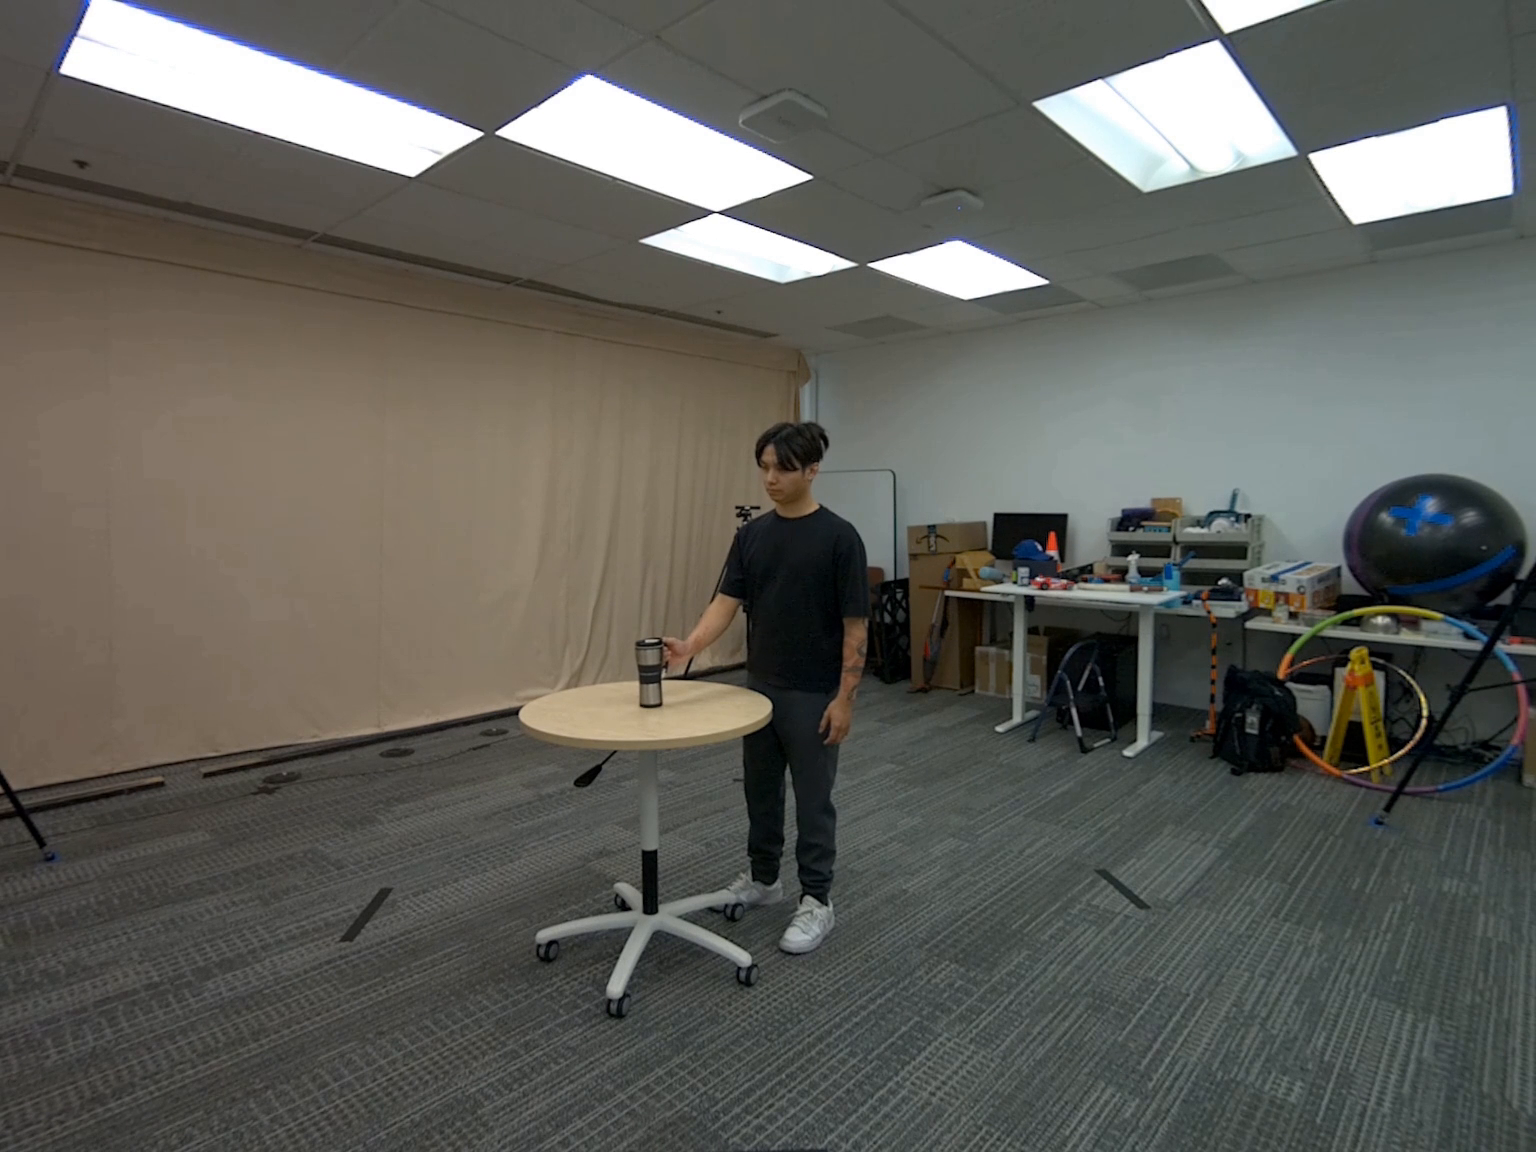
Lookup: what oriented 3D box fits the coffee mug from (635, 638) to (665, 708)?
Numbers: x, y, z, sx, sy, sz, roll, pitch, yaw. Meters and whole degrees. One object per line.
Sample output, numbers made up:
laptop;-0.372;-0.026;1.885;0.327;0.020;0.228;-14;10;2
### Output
coffee mug;-0.339;0.298;2.585;0.119;0.202;0.090;-8;3;-35
